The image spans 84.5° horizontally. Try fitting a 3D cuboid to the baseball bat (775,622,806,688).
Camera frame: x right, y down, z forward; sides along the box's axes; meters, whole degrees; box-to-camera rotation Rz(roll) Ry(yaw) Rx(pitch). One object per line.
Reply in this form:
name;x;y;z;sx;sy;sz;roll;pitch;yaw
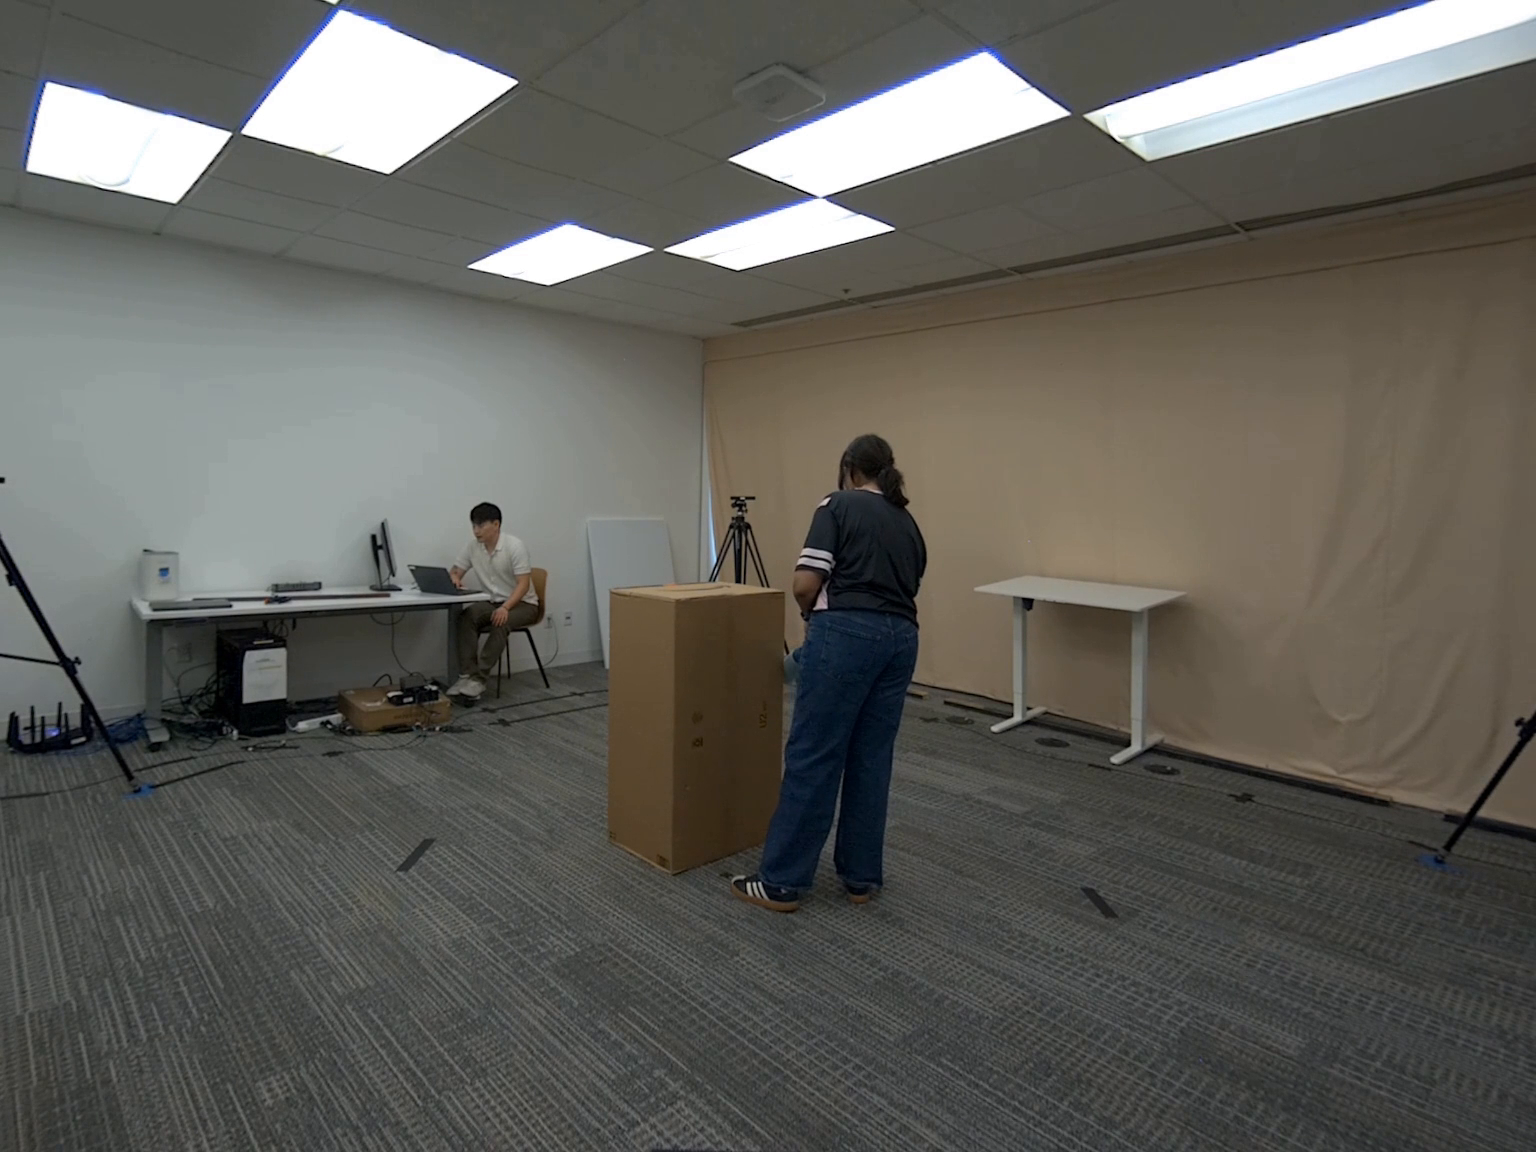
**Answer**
baseball bat;0.131;0.313;3.328;0.088;0.091;0.538;1;-25;-13
